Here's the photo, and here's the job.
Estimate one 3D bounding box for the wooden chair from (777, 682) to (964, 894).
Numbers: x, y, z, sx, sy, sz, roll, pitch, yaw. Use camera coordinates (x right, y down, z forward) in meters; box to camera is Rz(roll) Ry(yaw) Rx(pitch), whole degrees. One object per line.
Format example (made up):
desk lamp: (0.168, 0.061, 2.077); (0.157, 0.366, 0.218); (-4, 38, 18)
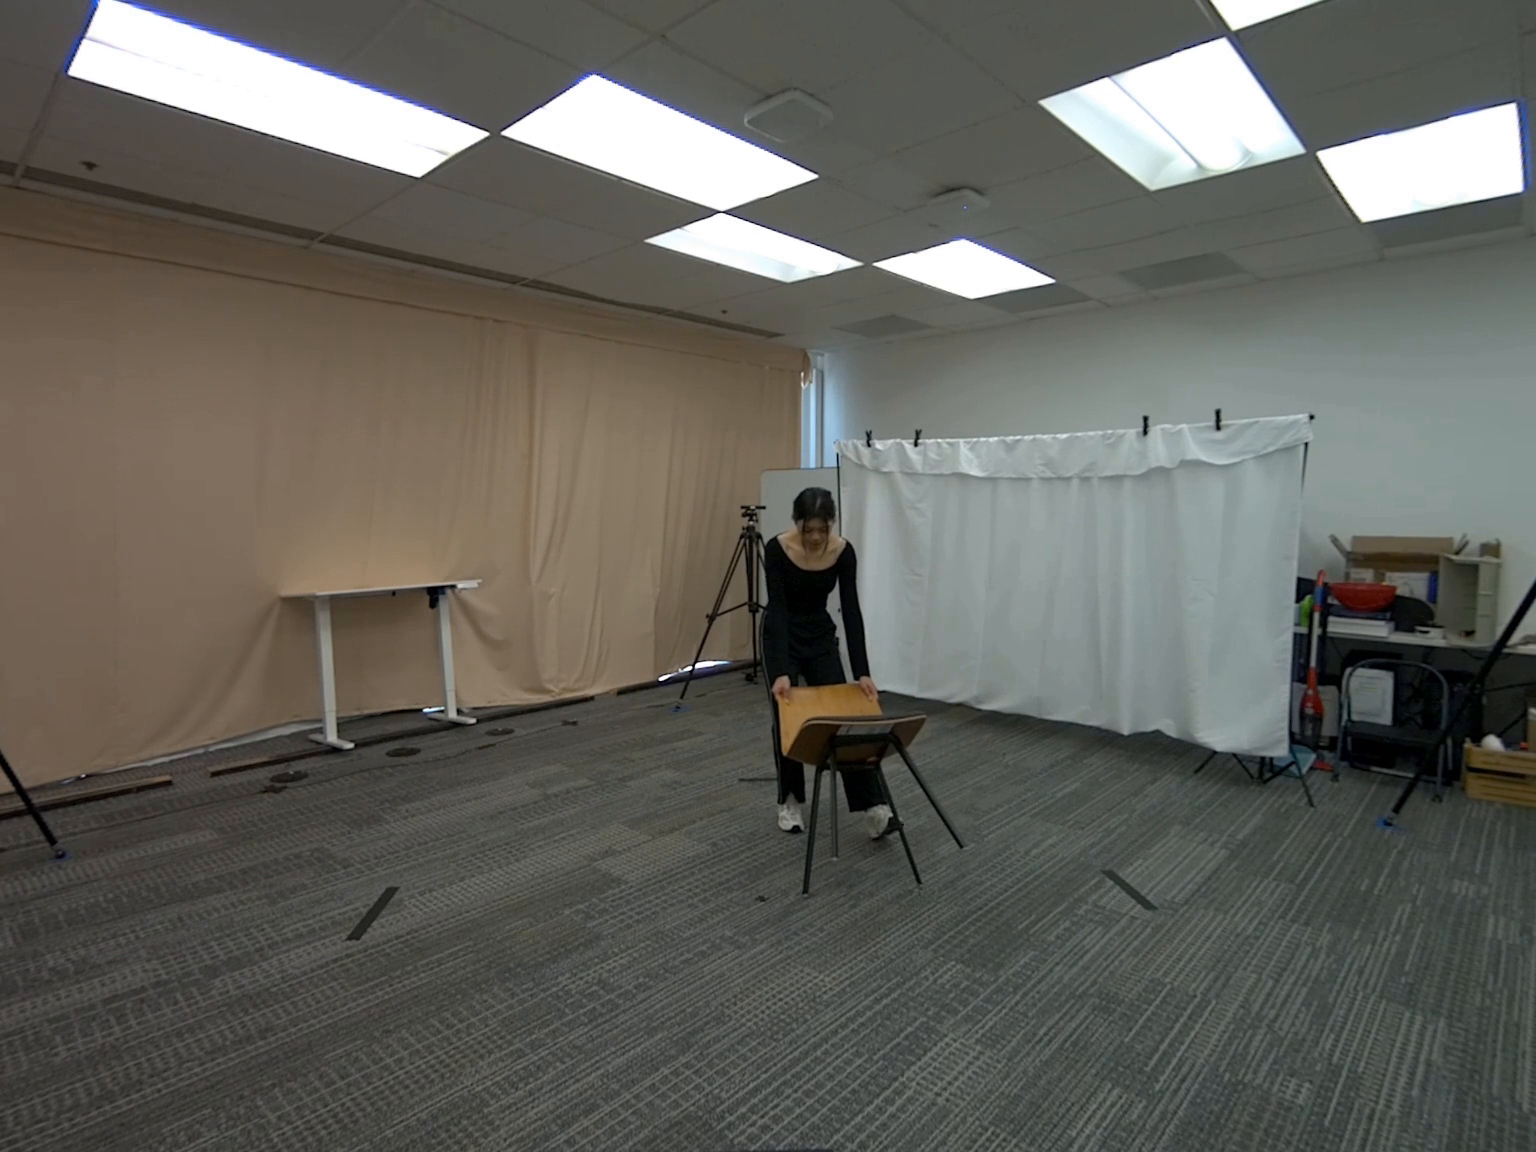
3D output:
wooden chair: (0.329, 0.648, 3.090); (0.473, 0.898, 0.517); (-1, -40, -11)
